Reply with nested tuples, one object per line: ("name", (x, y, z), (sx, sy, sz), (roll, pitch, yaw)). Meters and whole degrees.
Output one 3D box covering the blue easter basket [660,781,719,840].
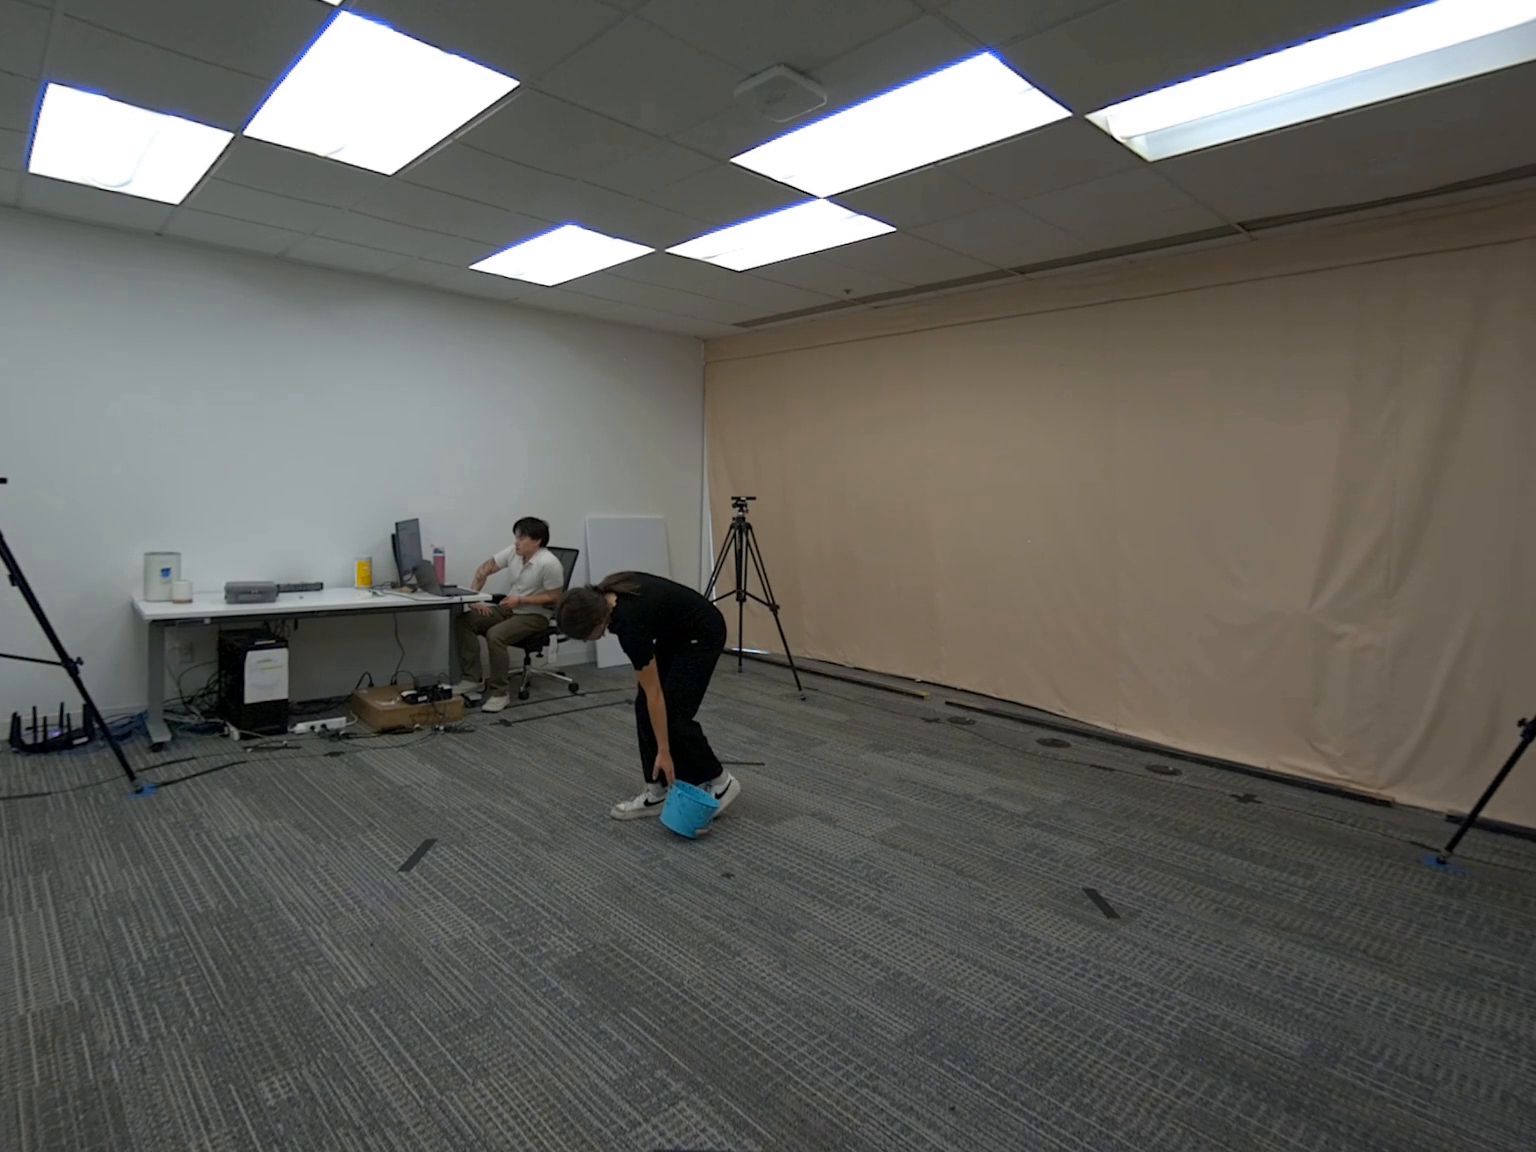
("blue easter basket", (-0.346, 0.968, 3.466), (0.244, 0.156, 0.243), (23, -3, 0))
